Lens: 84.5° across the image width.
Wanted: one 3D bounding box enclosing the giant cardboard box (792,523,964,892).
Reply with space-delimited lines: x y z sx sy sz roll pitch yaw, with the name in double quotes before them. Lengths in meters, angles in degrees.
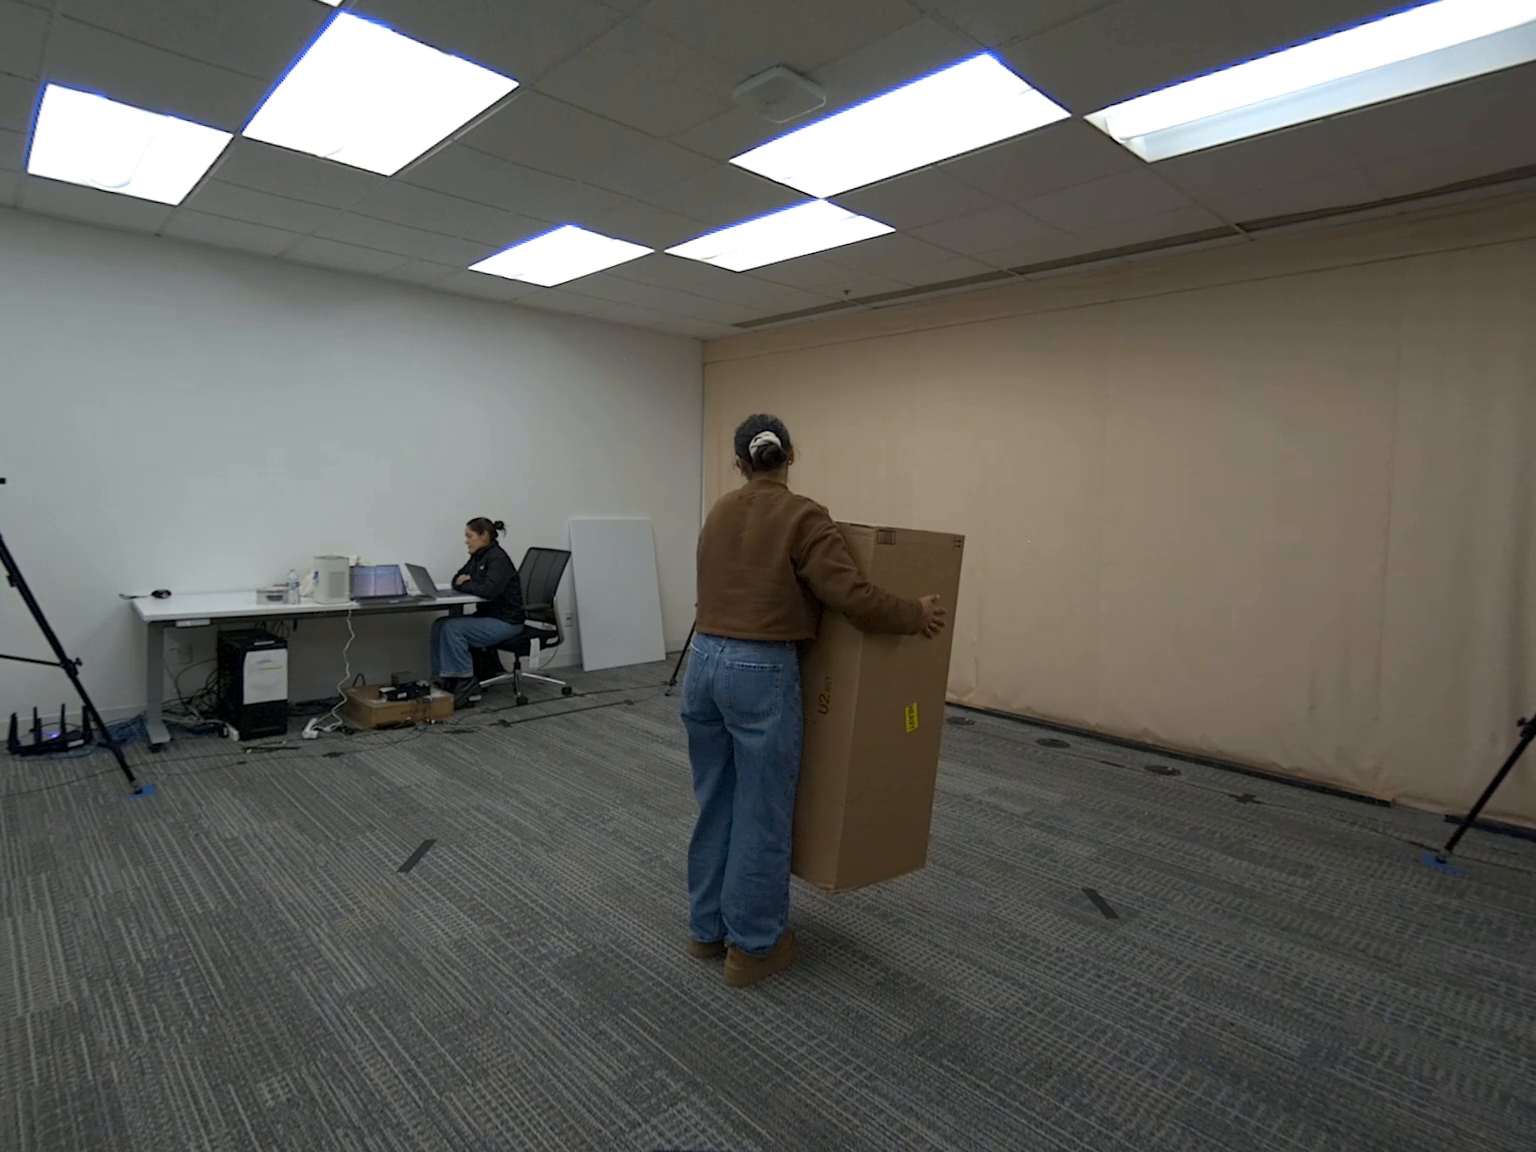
"giant cardboard box" 0.199 0.347 2.638 0.415 1.024 0.593 4 3 -43
